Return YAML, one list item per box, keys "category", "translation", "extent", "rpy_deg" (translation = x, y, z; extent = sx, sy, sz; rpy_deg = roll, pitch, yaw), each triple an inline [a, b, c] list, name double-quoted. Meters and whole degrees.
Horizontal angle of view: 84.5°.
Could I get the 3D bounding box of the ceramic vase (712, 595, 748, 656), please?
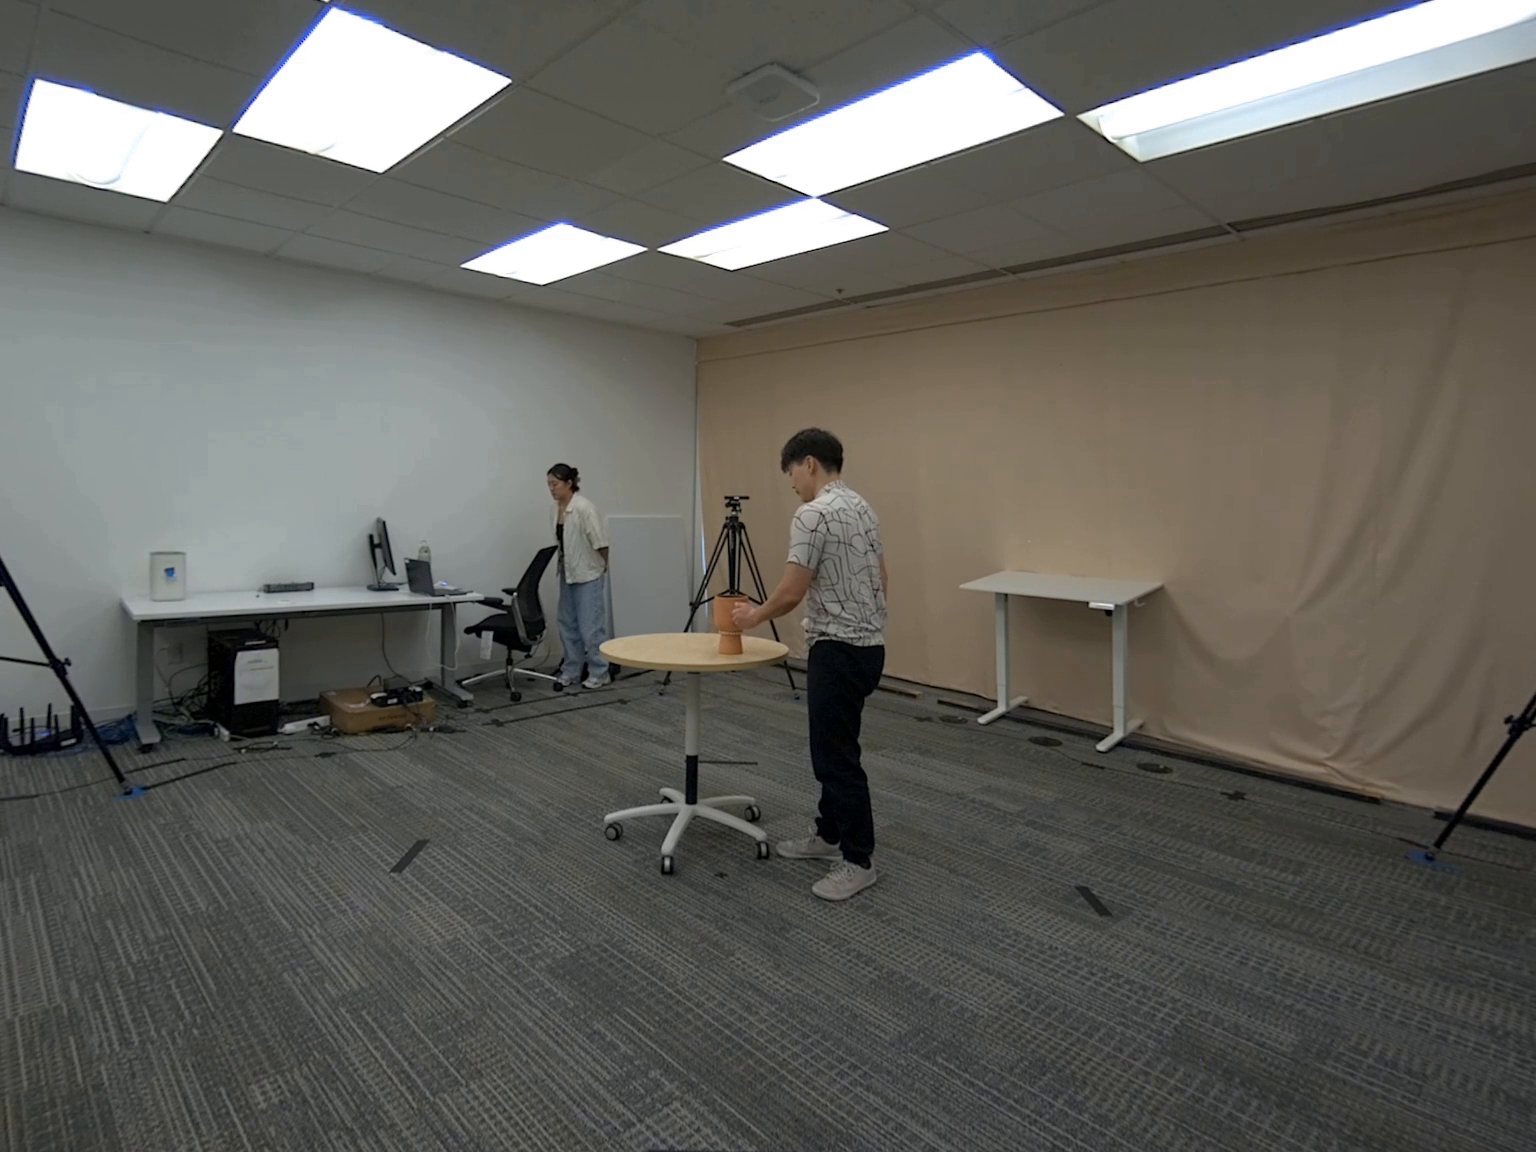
- category: "ceramic vase"
  translation: [-0.144, 0.192, 3.300]
  extent: [0.137, 0.219, 0.156]
  rpy_deg: [2, 2, 20]
